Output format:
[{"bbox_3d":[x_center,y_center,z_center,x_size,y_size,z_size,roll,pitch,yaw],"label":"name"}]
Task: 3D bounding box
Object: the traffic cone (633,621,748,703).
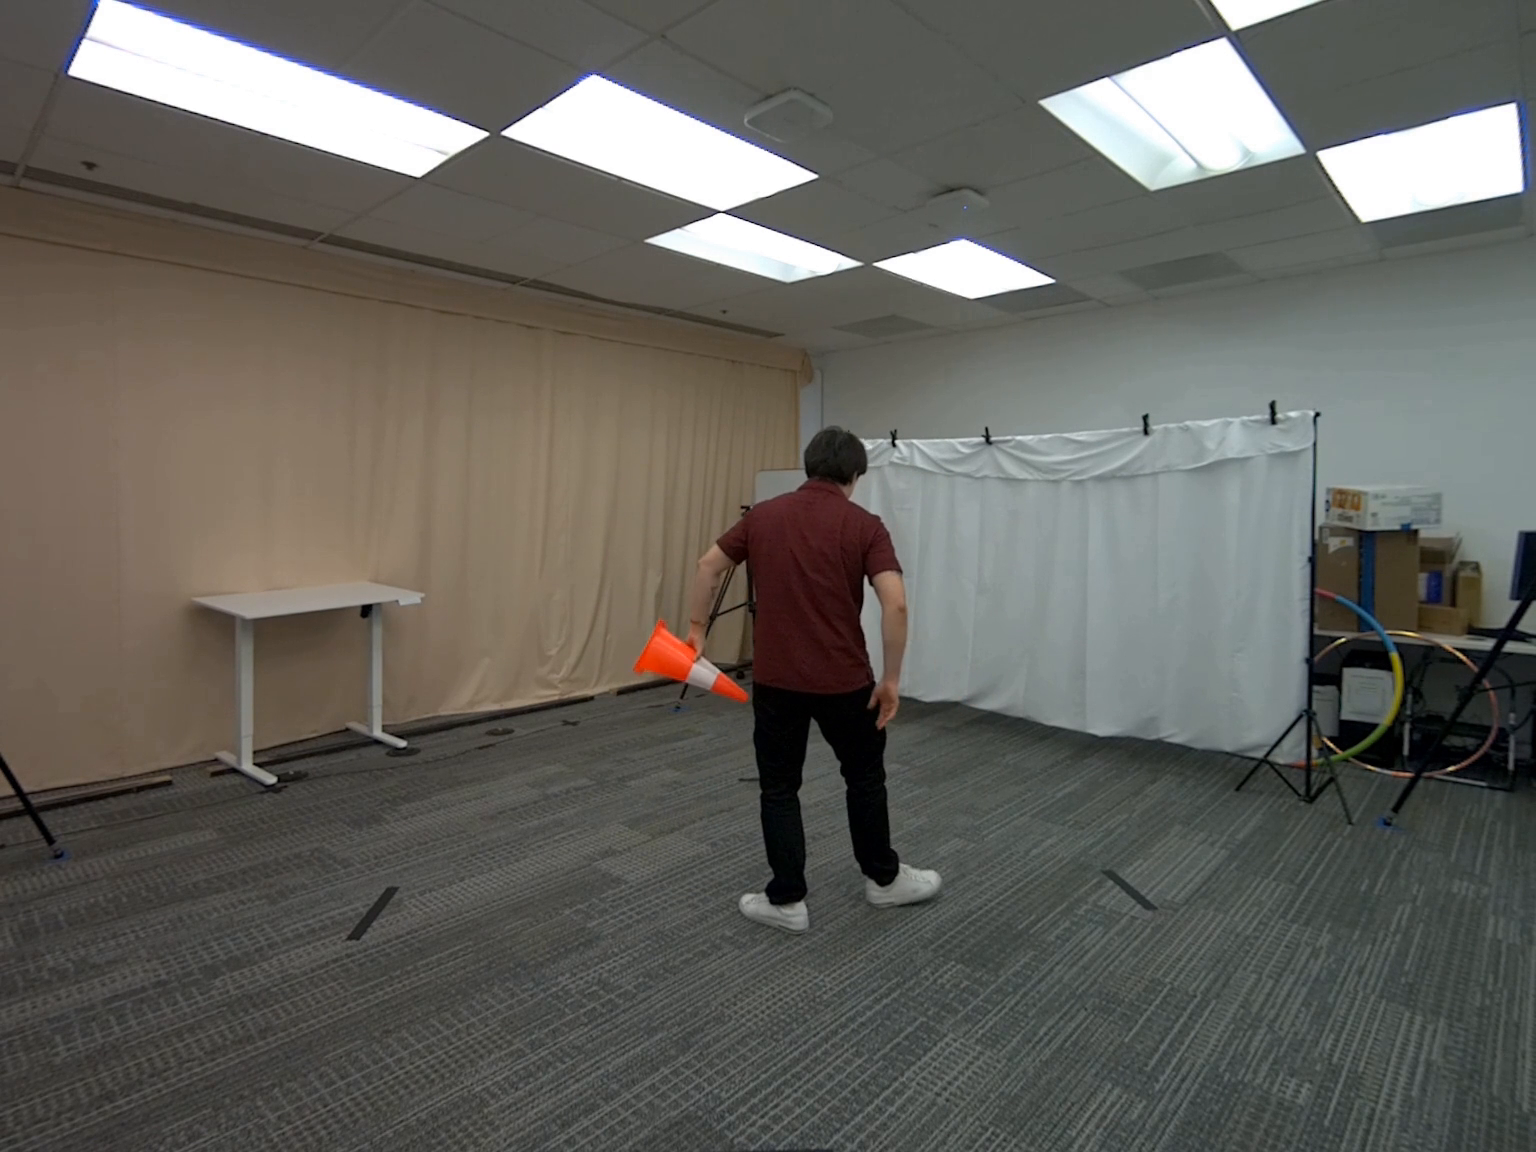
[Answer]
[{"bbox_3d":[-0.224,0.331,2.907,0.385,0.203,0.204,25,-7,2],"label":"traffic cone"}]
